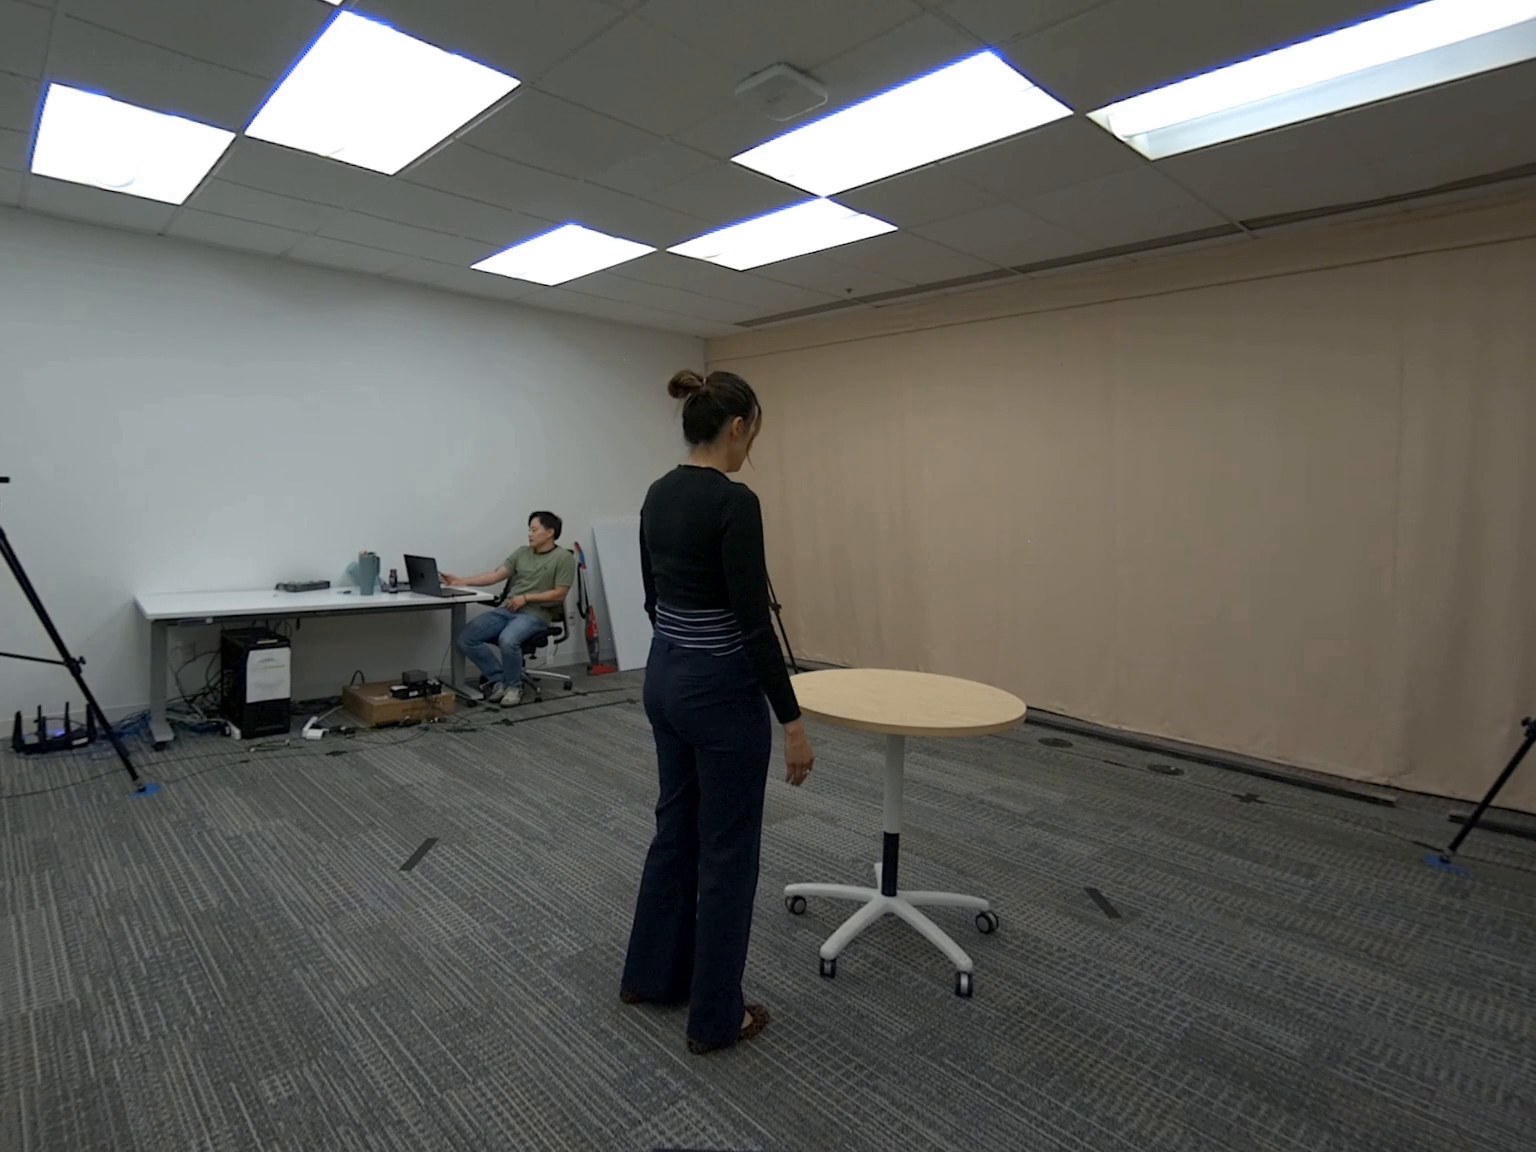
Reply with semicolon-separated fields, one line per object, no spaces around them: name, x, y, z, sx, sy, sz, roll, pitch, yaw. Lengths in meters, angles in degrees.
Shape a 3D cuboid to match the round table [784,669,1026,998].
round table;0.386;0.767;2.668;0.763;0.792;0.767;2;4;-2
